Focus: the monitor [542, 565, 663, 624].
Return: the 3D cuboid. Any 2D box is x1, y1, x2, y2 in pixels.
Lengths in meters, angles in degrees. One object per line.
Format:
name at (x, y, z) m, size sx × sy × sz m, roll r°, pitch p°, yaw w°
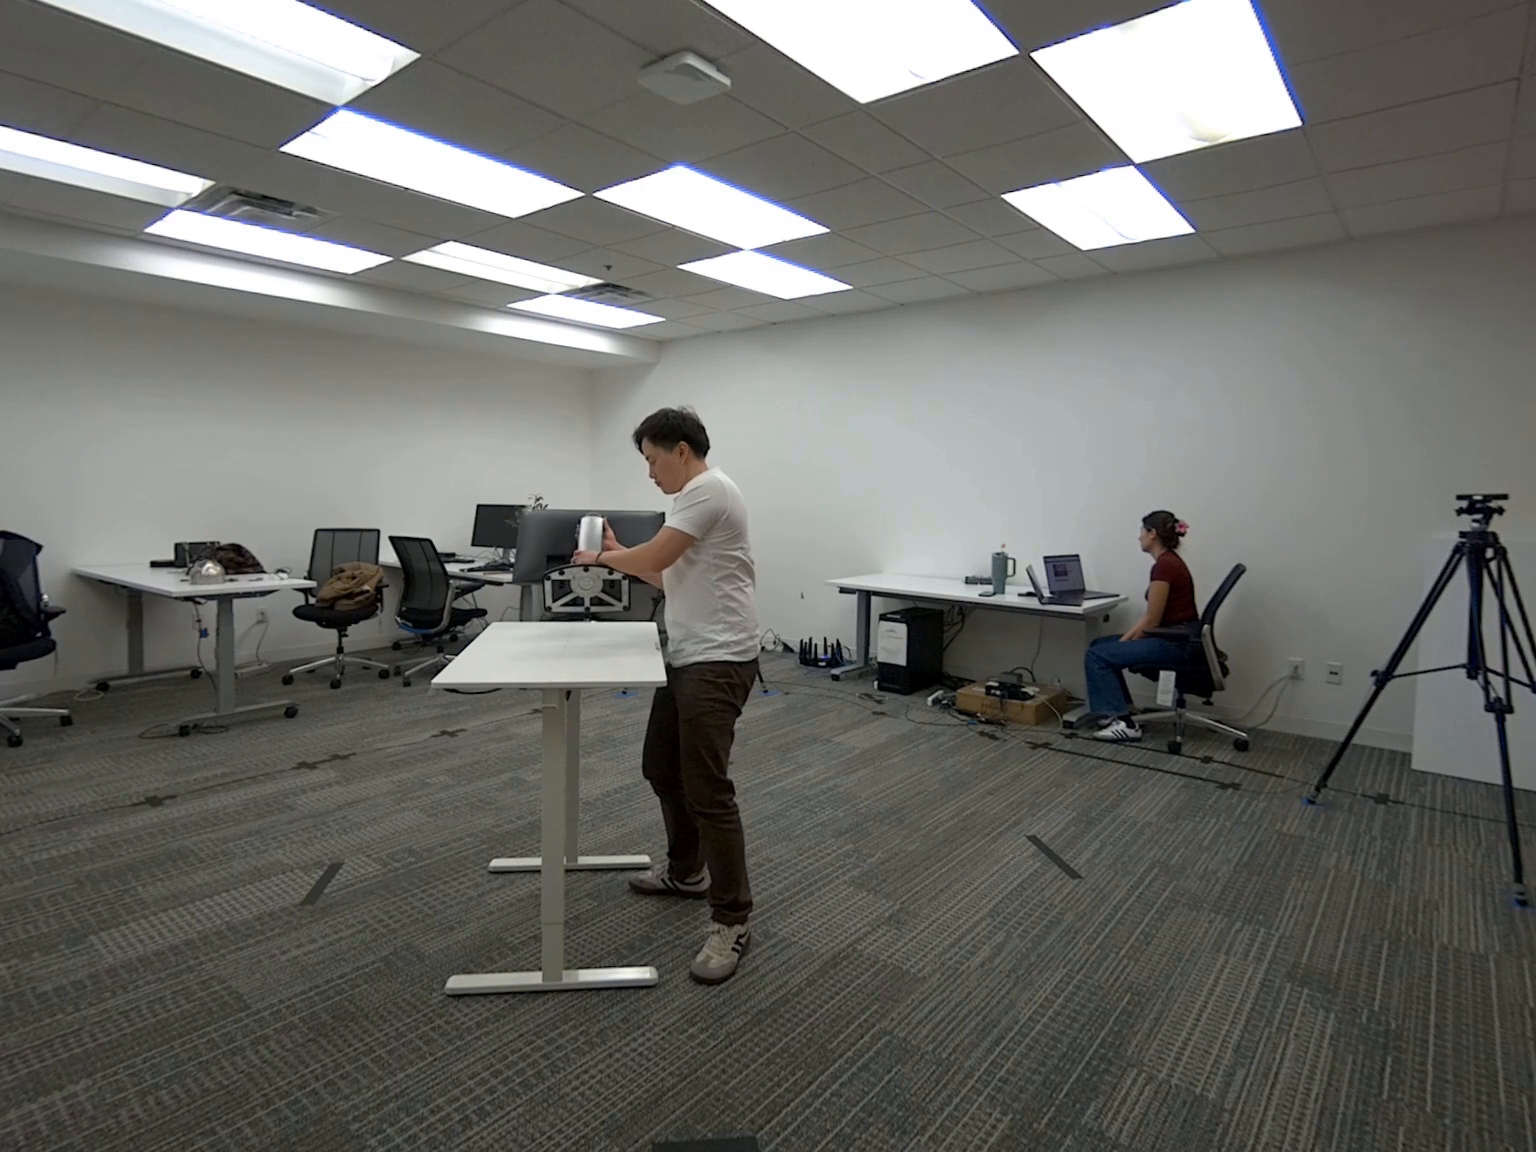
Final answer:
monitor at (-0.629, -0.077, 2.968) m, size 0.535 × 0.183 × 0.539 m, roll 2°, pitch 35°, yaw -7°
